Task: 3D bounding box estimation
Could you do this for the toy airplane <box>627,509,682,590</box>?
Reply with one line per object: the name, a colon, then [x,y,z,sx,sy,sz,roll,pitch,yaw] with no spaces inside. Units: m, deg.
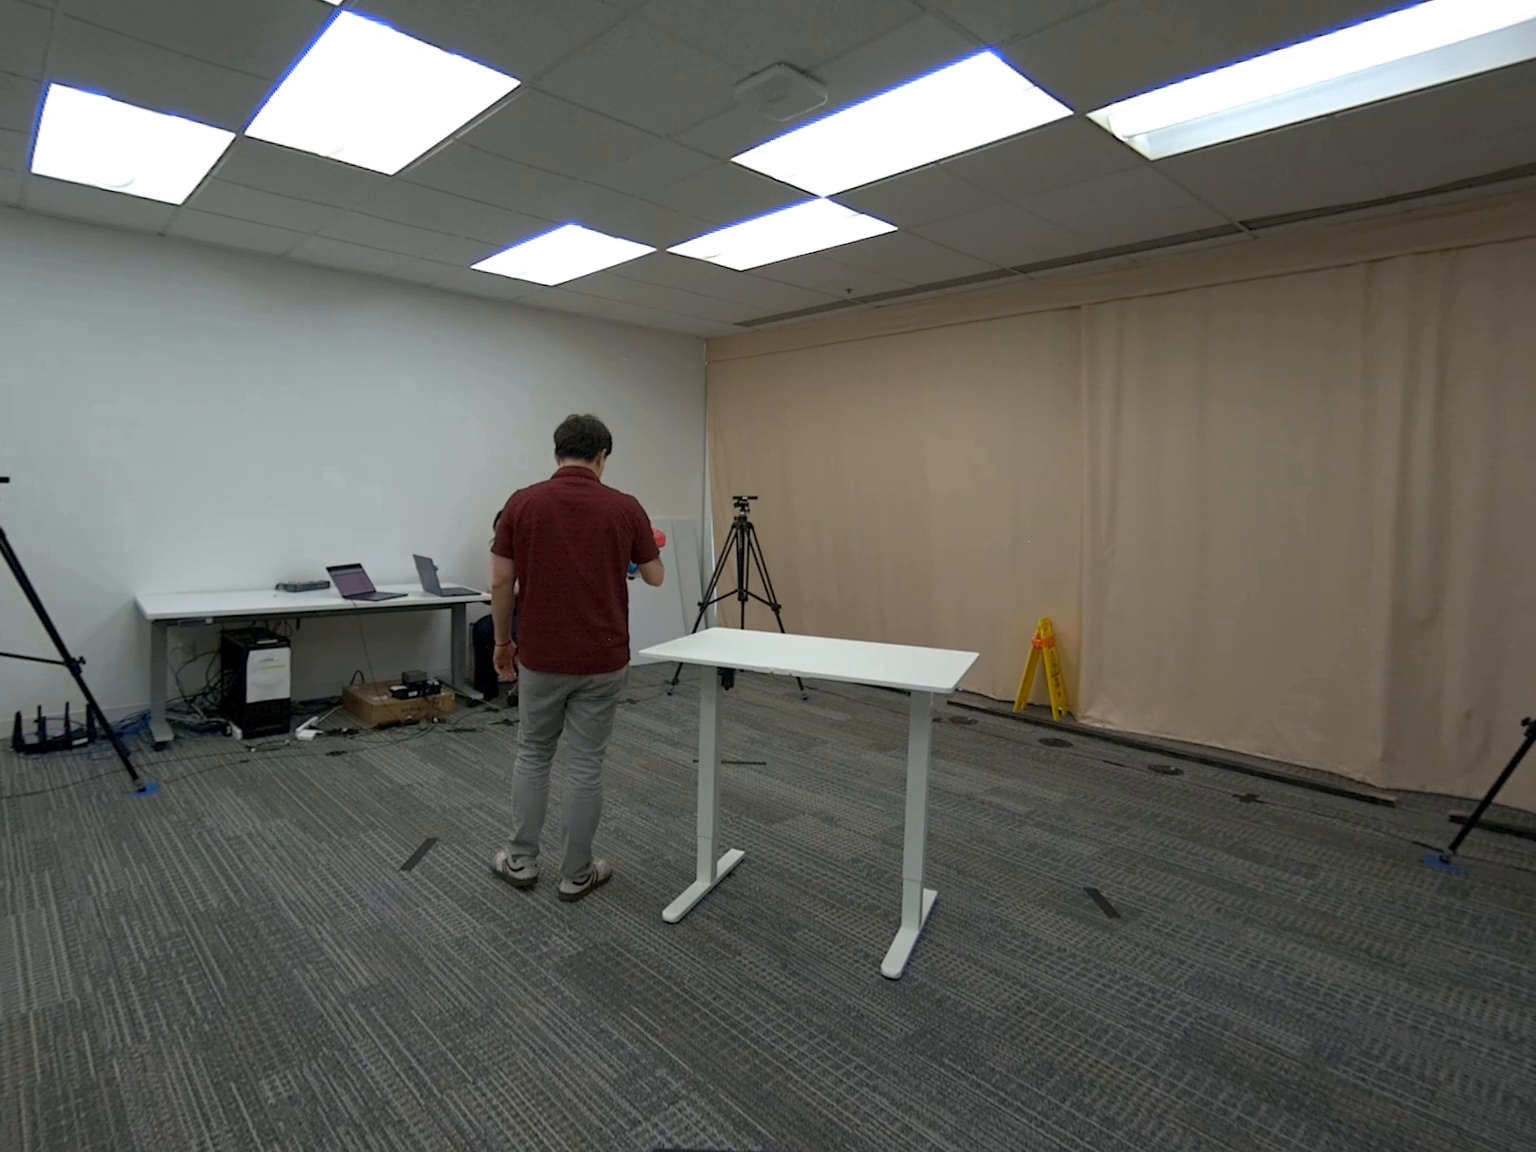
toy airplane: [-0.539,-0.108,3.385,0.246,0.266,0.155,-11,-34,-42]
